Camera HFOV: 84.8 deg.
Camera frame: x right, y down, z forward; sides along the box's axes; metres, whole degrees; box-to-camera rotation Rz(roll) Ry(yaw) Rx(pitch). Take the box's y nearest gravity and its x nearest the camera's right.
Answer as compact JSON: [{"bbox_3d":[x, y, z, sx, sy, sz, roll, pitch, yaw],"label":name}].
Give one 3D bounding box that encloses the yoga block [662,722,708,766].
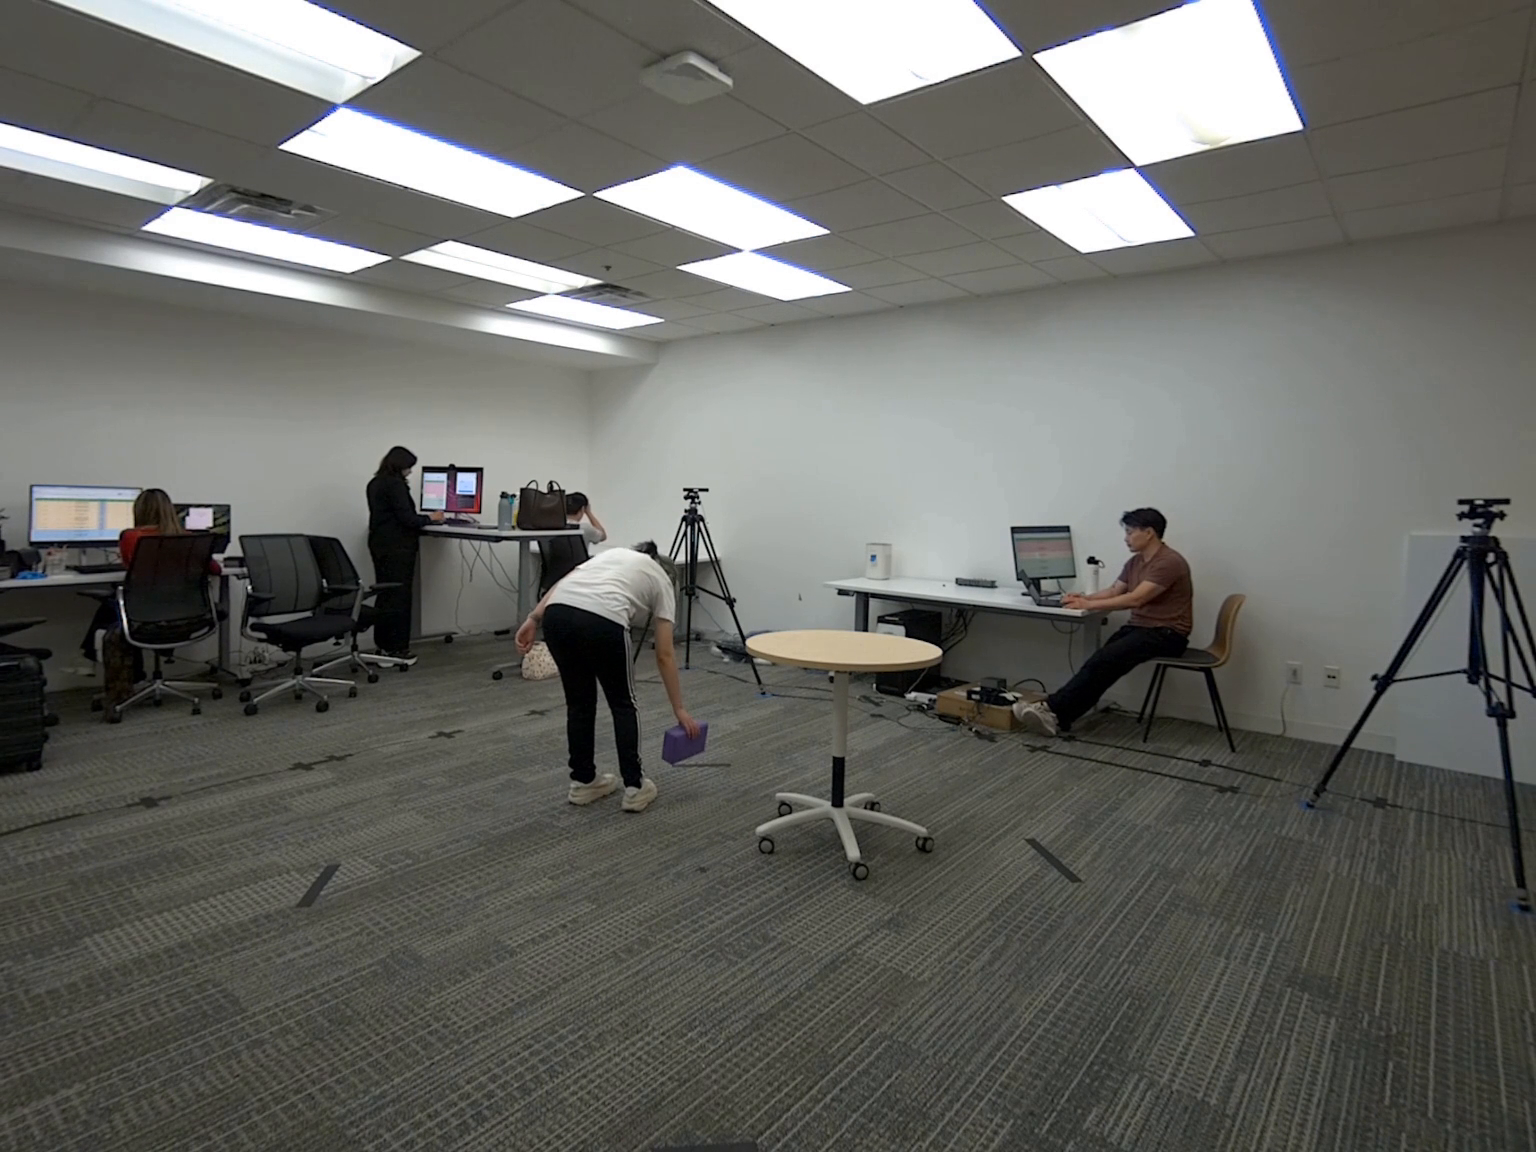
[{"bbox_3d":[-0.396,0.749,3.894,0.079,0.147,0.223,14,15,39],"label":"yoga block"}]
